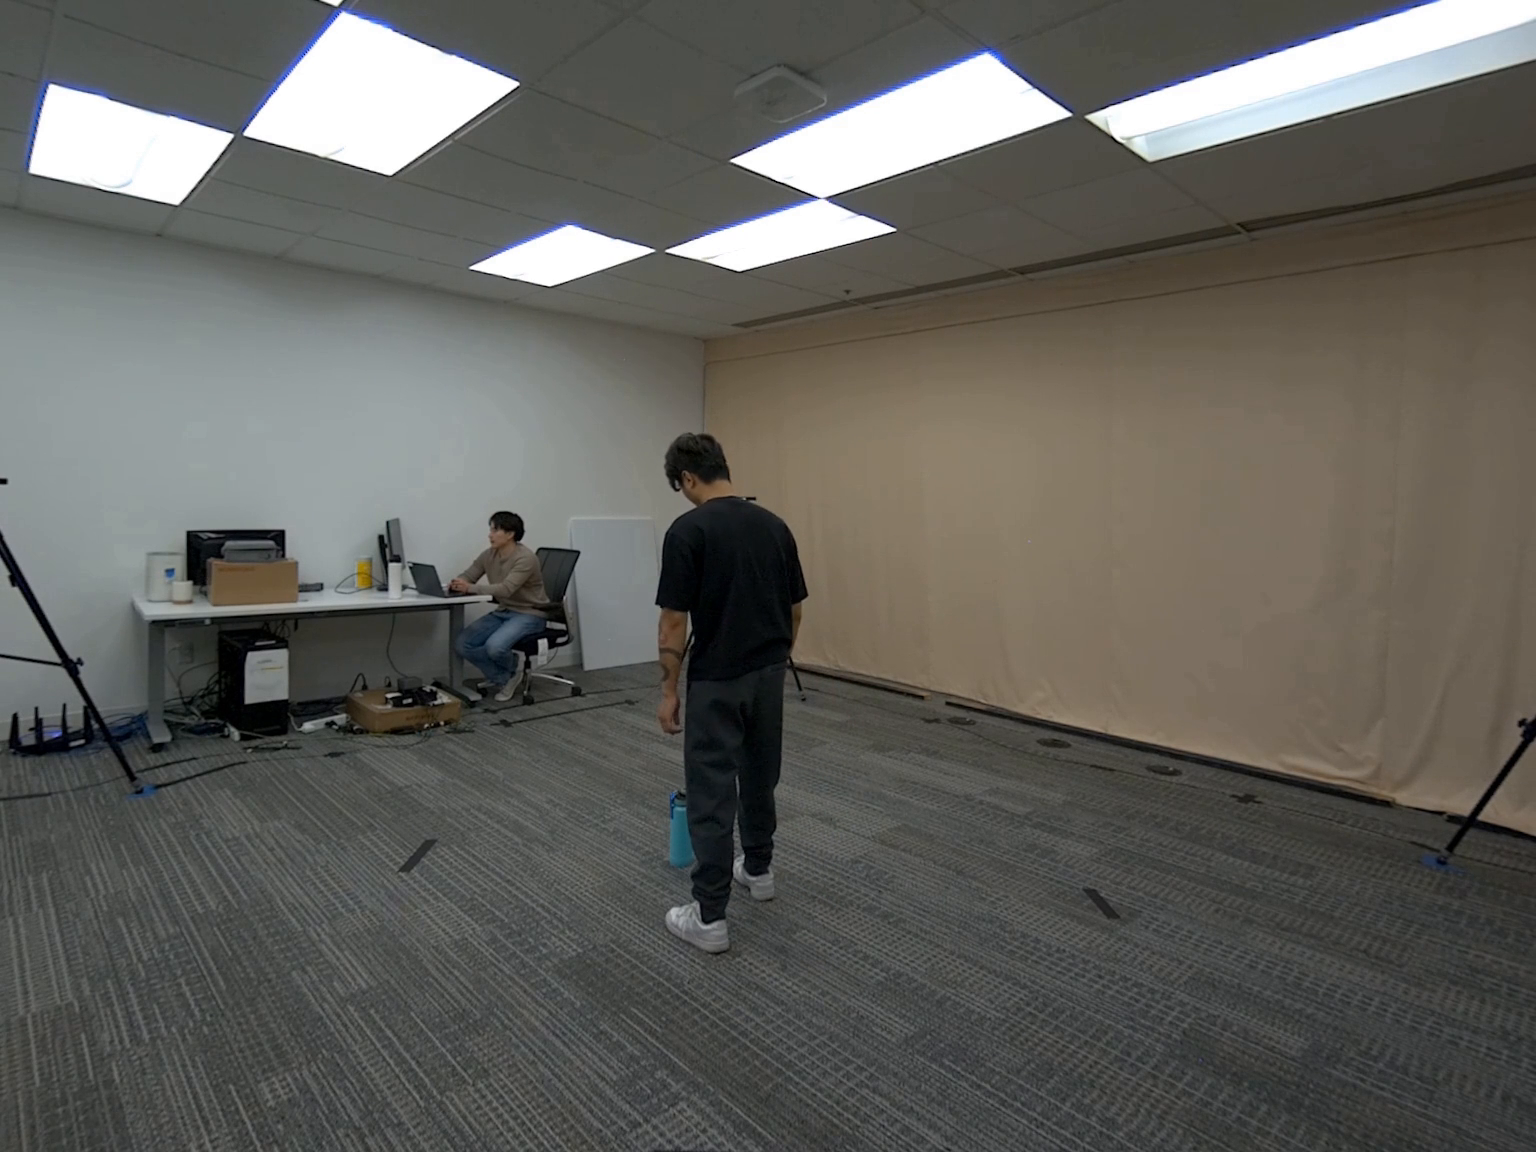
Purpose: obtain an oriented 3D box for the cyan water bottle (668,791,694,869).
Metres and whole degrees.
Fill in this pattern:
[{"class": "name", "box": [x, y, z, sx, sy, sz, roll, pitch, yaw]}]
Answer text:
[{"class": "cyan water bottle", "box": [-0.344, 0.955, 3.207, 0.092, 0.283, 0.092, 0, 2, -1]}]
